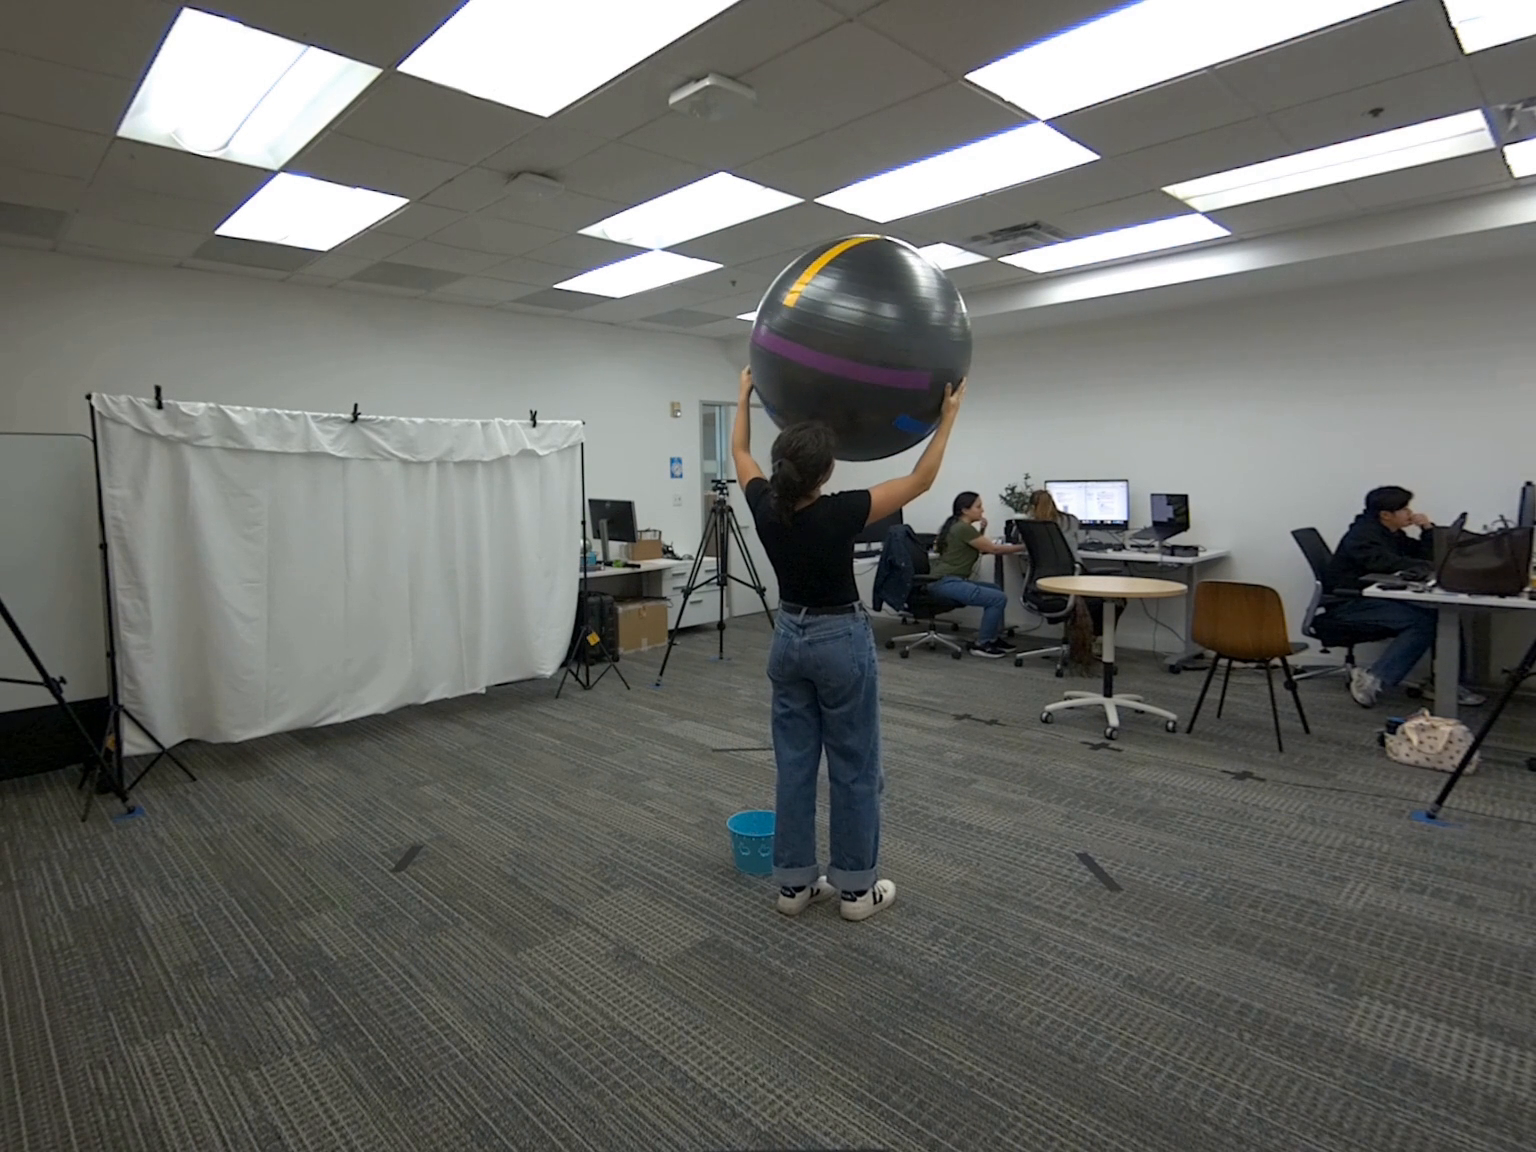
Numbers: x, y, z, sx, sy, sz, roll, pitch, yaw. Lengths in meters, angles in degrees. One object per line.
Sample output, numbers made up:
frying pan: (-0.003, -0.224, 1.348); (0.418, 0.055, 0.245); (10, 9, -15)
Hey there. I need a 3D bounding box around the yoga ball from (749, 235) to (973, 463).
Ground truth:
yoga ball: (0.314, -0.770, 2.956); (0.757, 0.755, 0.762); (-1, 5, -2)
